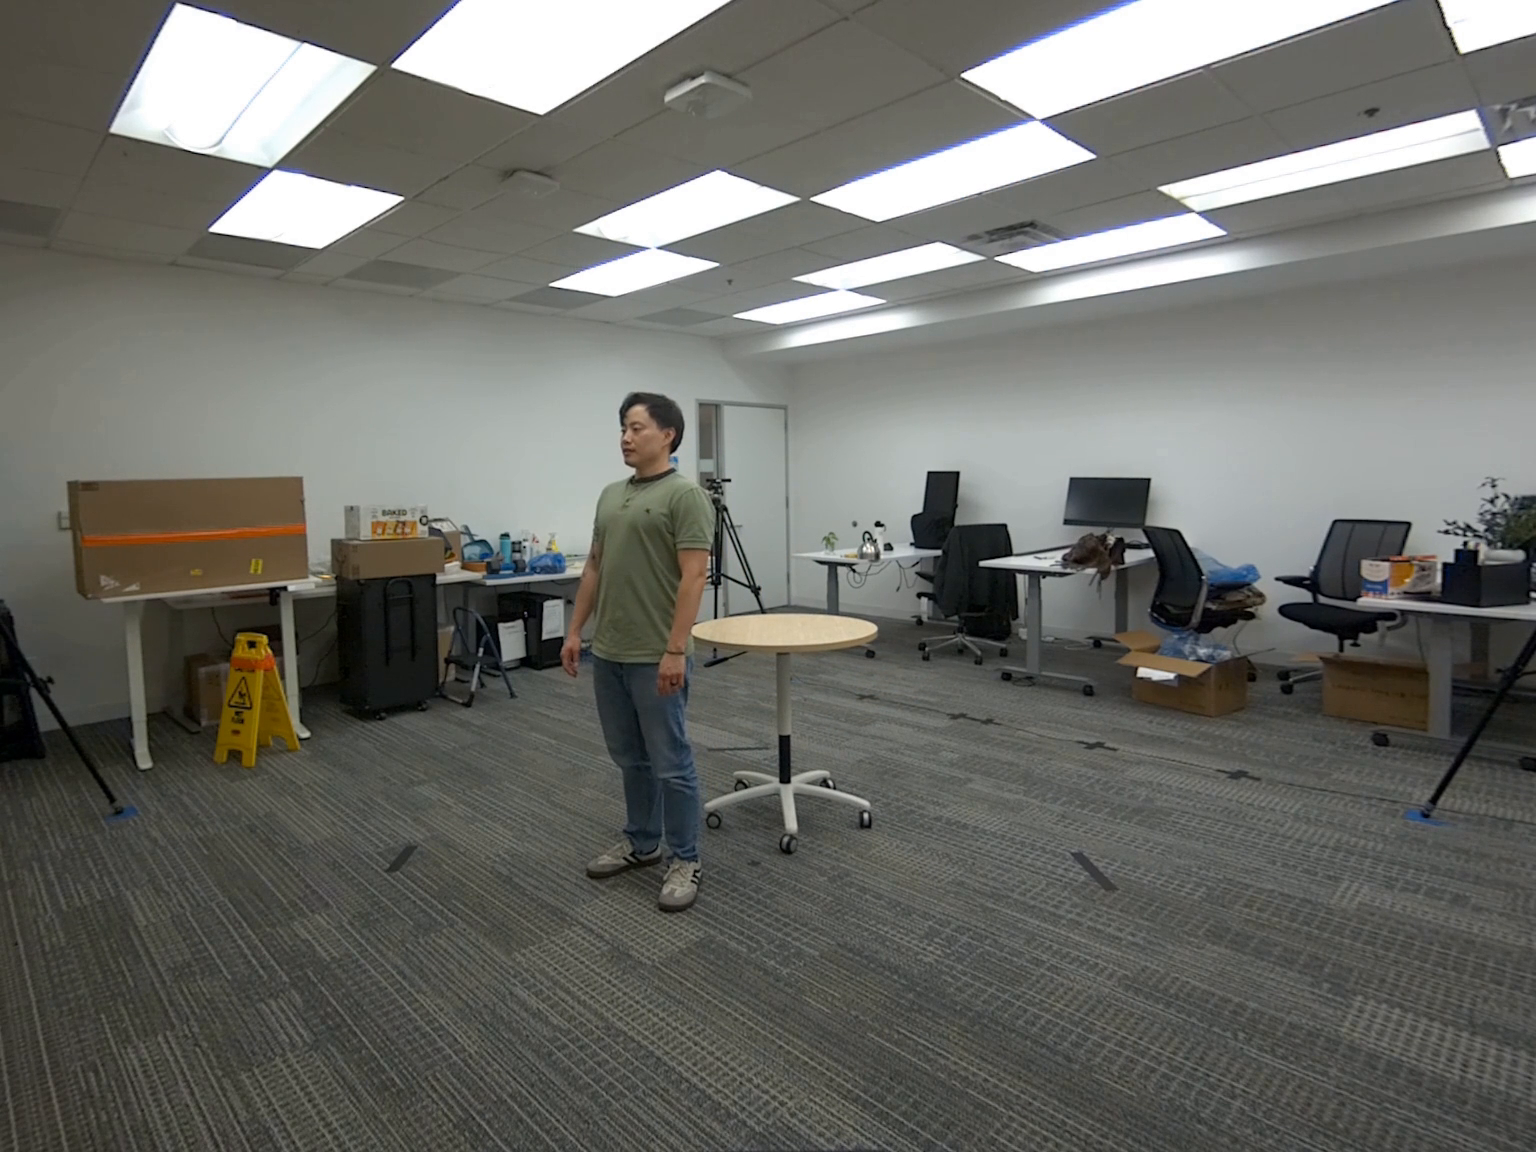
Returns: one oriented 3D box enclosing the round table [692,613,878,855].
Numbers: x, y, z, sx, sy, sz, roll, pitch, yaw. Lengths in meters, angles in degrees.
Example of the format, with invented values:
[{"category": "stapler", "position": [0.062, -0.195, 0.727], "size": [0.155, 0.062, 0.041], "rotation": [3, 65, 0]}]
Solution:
[{"category": "round table", "position": [0.064, 0.606, 3.515], "size": [0.763, 0.791, 0.767], "rotation": [-1, 4, -2]}]
